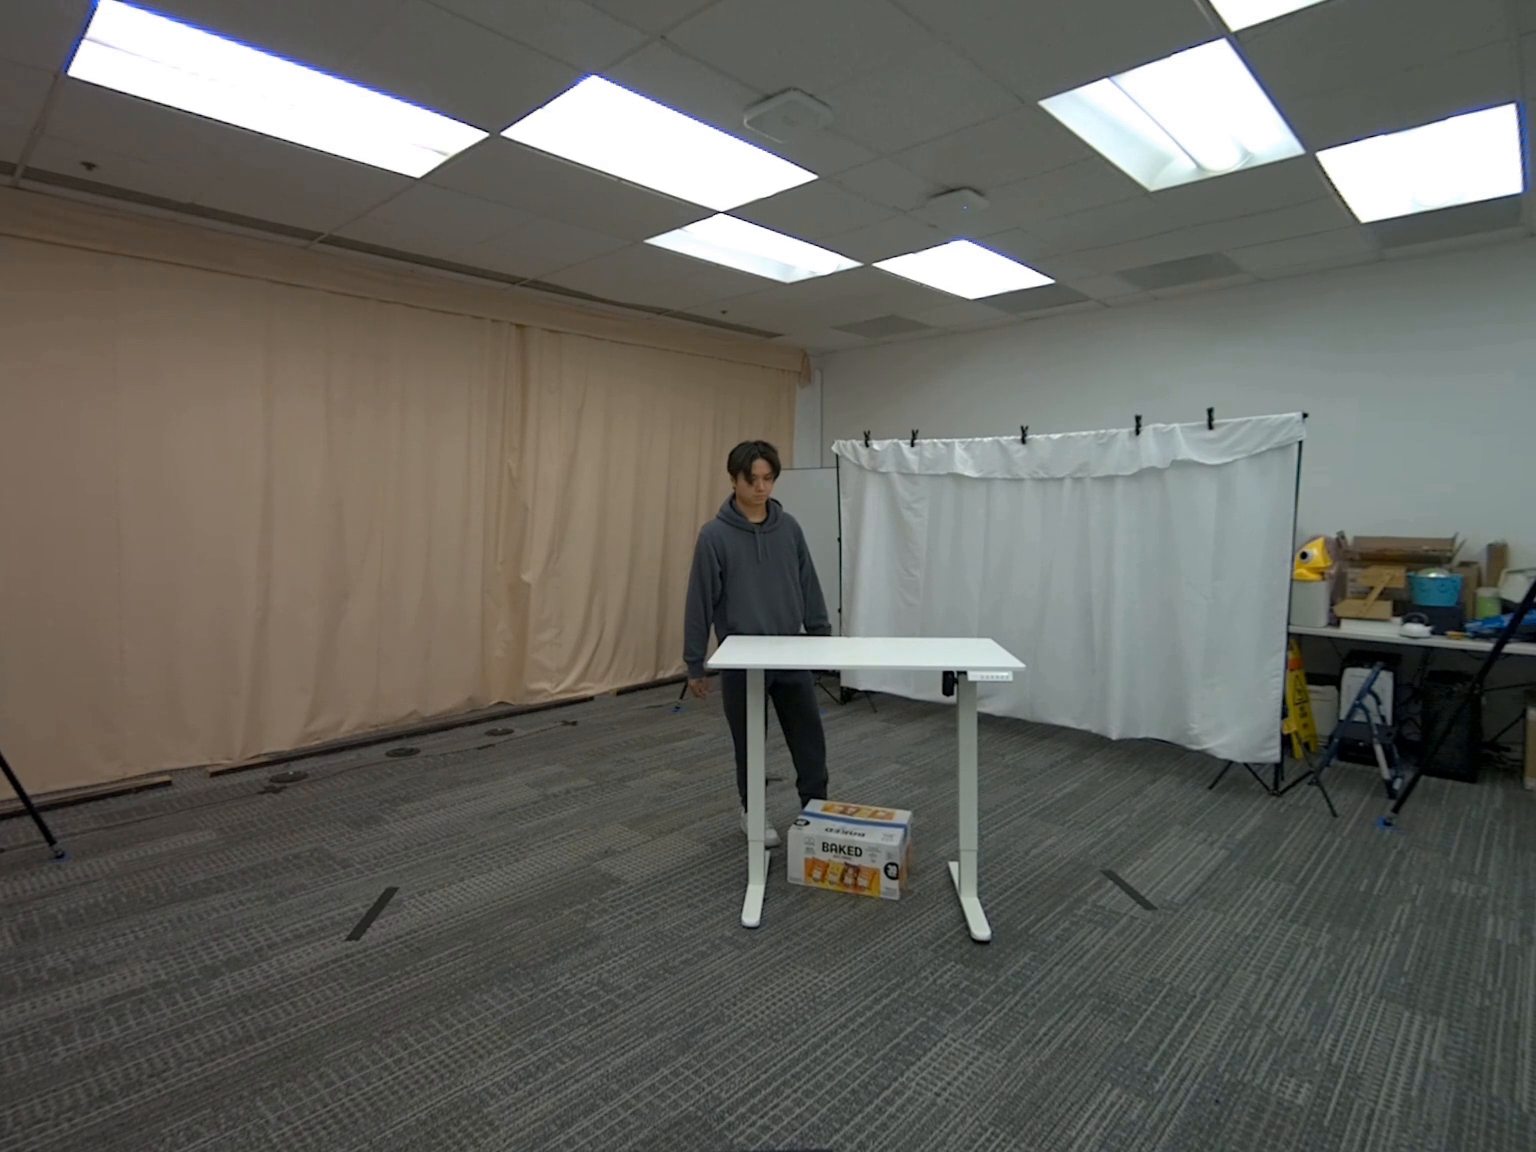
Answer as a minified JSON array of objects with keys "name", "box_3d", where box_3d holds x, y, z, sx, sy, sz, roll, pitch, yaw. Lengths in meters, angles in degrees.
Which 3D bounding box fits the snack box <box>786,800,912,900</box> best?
[{"name":"snack box","box_3d":[0.320,1.023,3.178,0.413,0.205,0.334,2,5,19]}]
